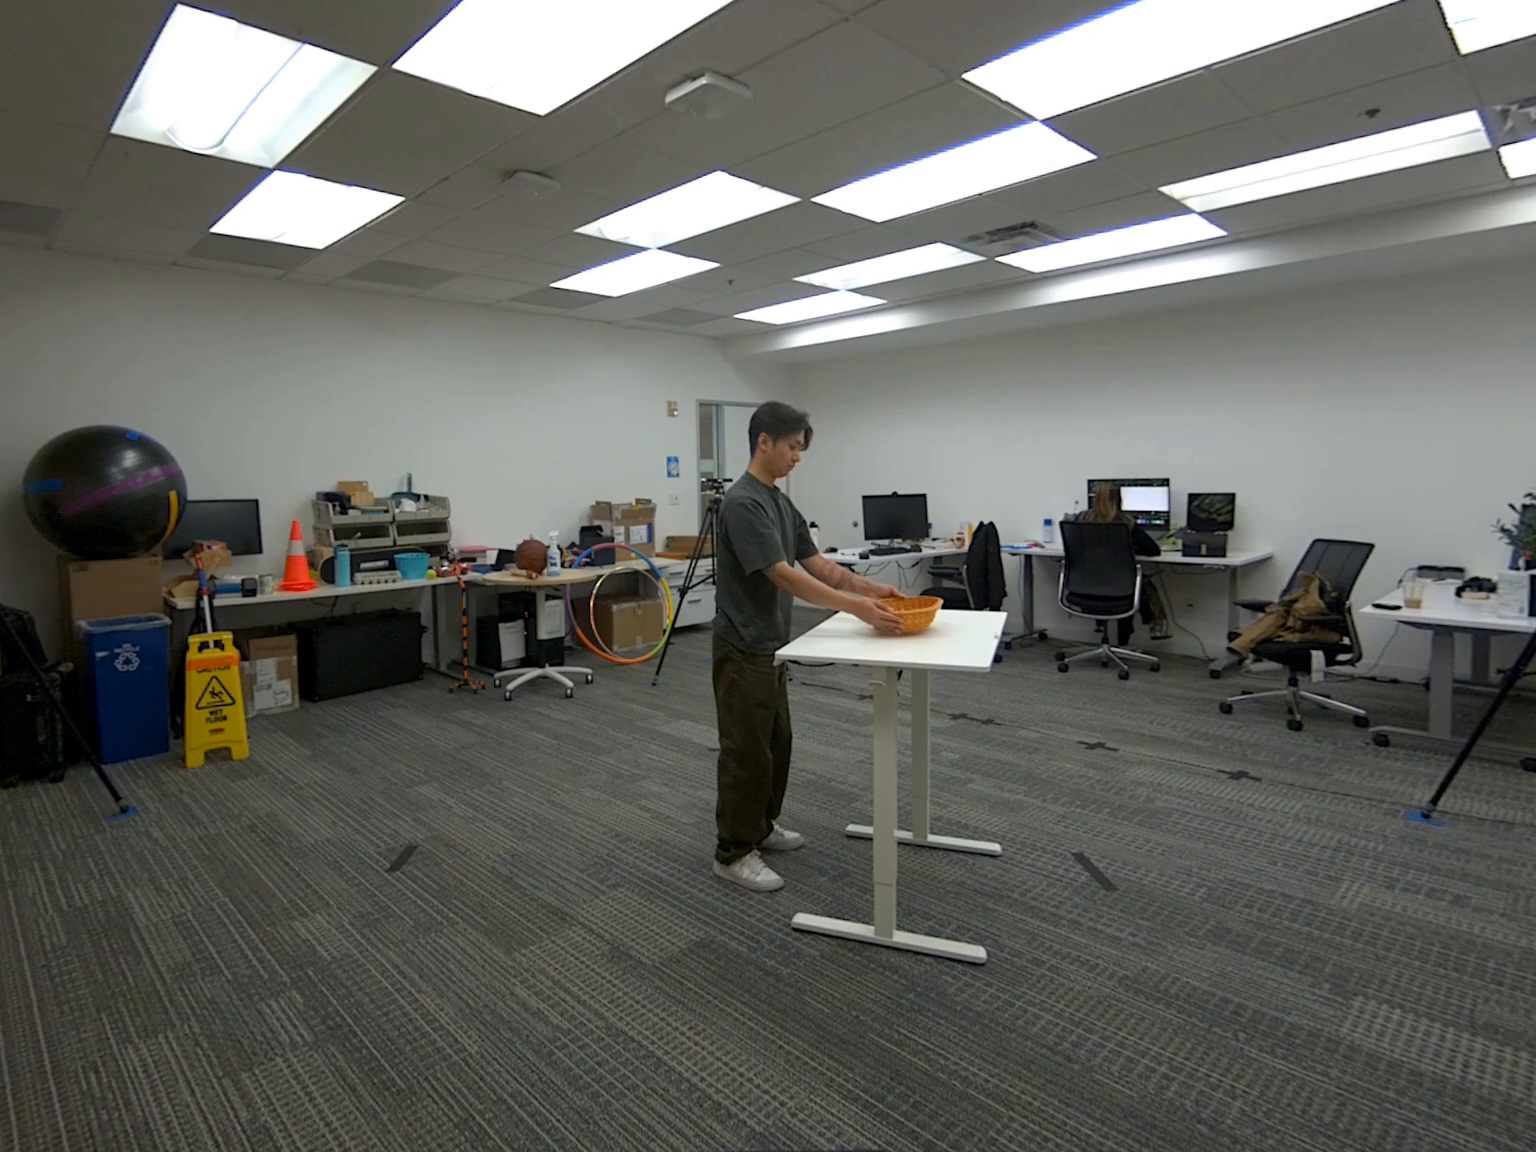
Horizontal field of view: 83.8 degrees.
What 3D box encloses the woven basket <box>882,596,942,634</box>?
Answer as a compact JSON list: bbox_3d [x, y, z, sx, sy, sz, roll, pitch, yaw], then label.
[{"bbox_3d":[0.453,0.134,2.869,0.258,0.073,0.345,-1,7,23],"label":"woven basket"}]
